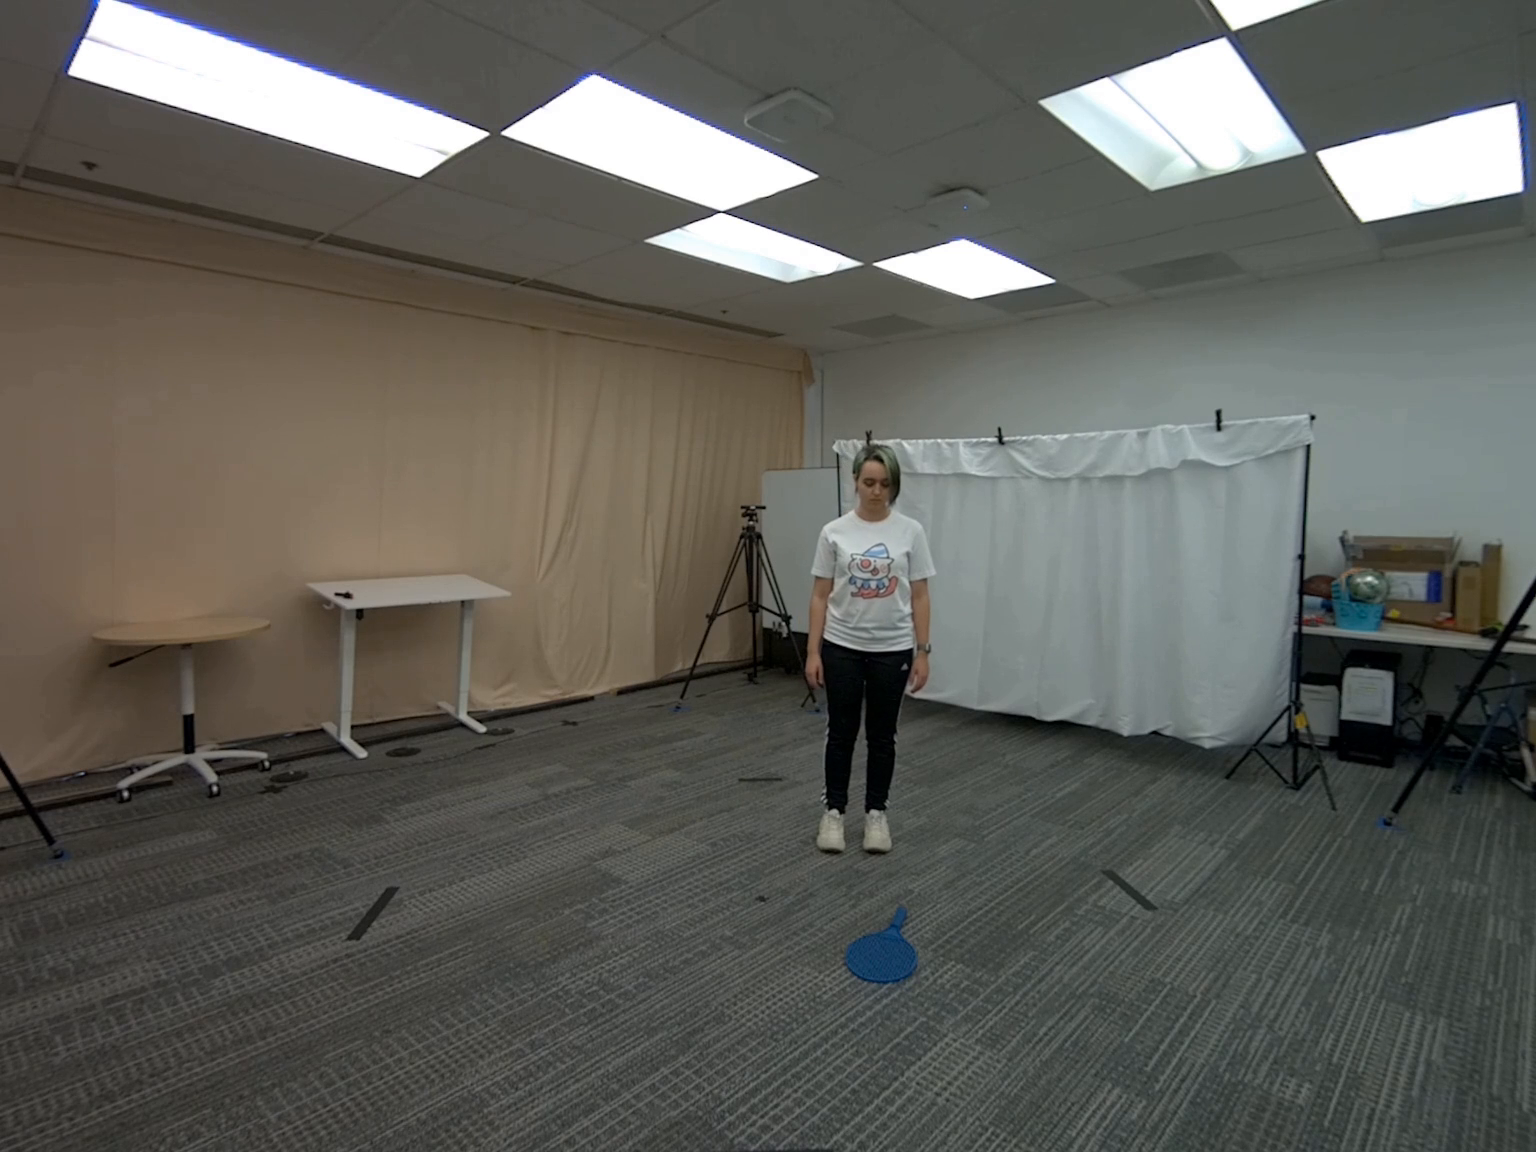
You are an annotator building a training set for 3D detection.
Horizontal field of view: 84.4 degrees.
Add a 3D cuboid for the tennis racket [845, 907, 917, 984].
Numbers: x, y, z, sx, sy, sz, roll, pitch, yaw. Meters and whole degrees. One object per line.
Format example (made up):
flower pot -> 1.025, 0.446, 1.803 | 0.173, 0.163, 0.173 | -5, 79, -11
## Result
tennis racket -> 0.377, 1.155, 2.656 | 0.219, 0.031, 0.423 | 2, 7, 24
